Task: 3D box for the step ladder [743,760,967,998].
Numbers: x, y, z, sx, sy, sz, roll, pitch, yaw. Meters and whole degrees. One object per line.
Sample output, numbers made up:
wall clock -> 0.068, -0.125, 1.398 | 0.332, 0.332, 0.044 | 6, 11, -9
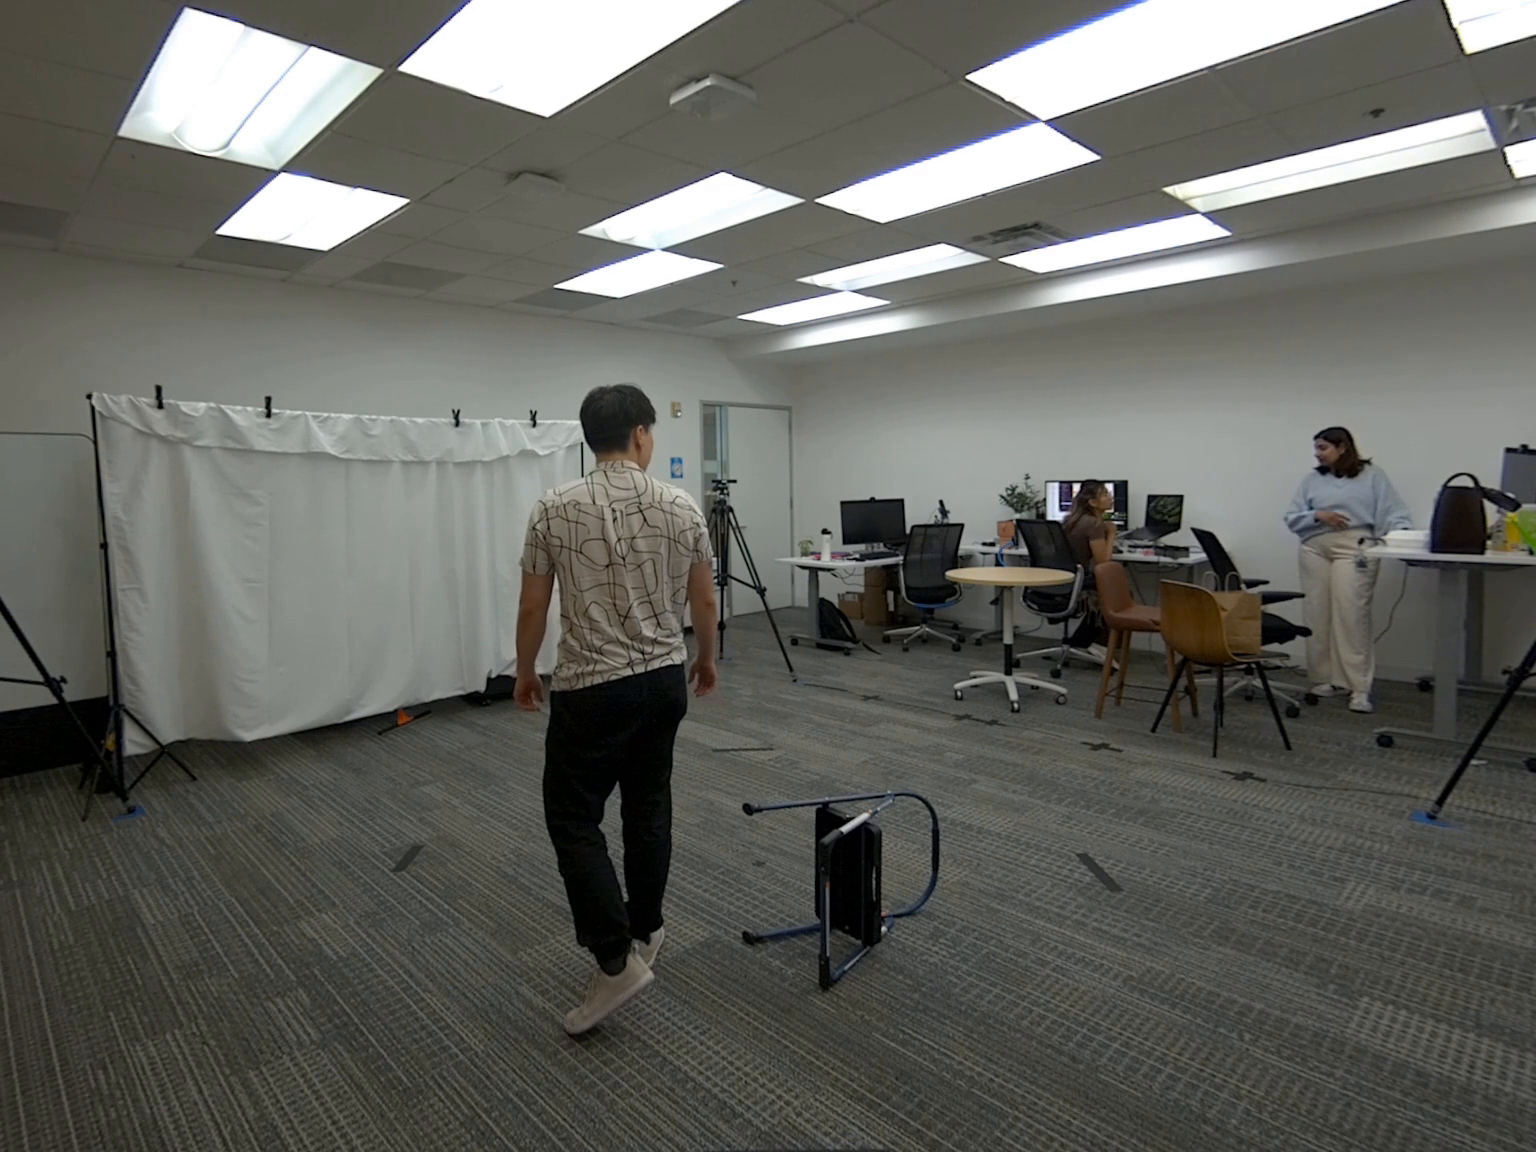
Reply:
step ladder -> 0.270, 0.887, 2.629 | 0.590, 0.428, 0.360 | -5, 7, -39
